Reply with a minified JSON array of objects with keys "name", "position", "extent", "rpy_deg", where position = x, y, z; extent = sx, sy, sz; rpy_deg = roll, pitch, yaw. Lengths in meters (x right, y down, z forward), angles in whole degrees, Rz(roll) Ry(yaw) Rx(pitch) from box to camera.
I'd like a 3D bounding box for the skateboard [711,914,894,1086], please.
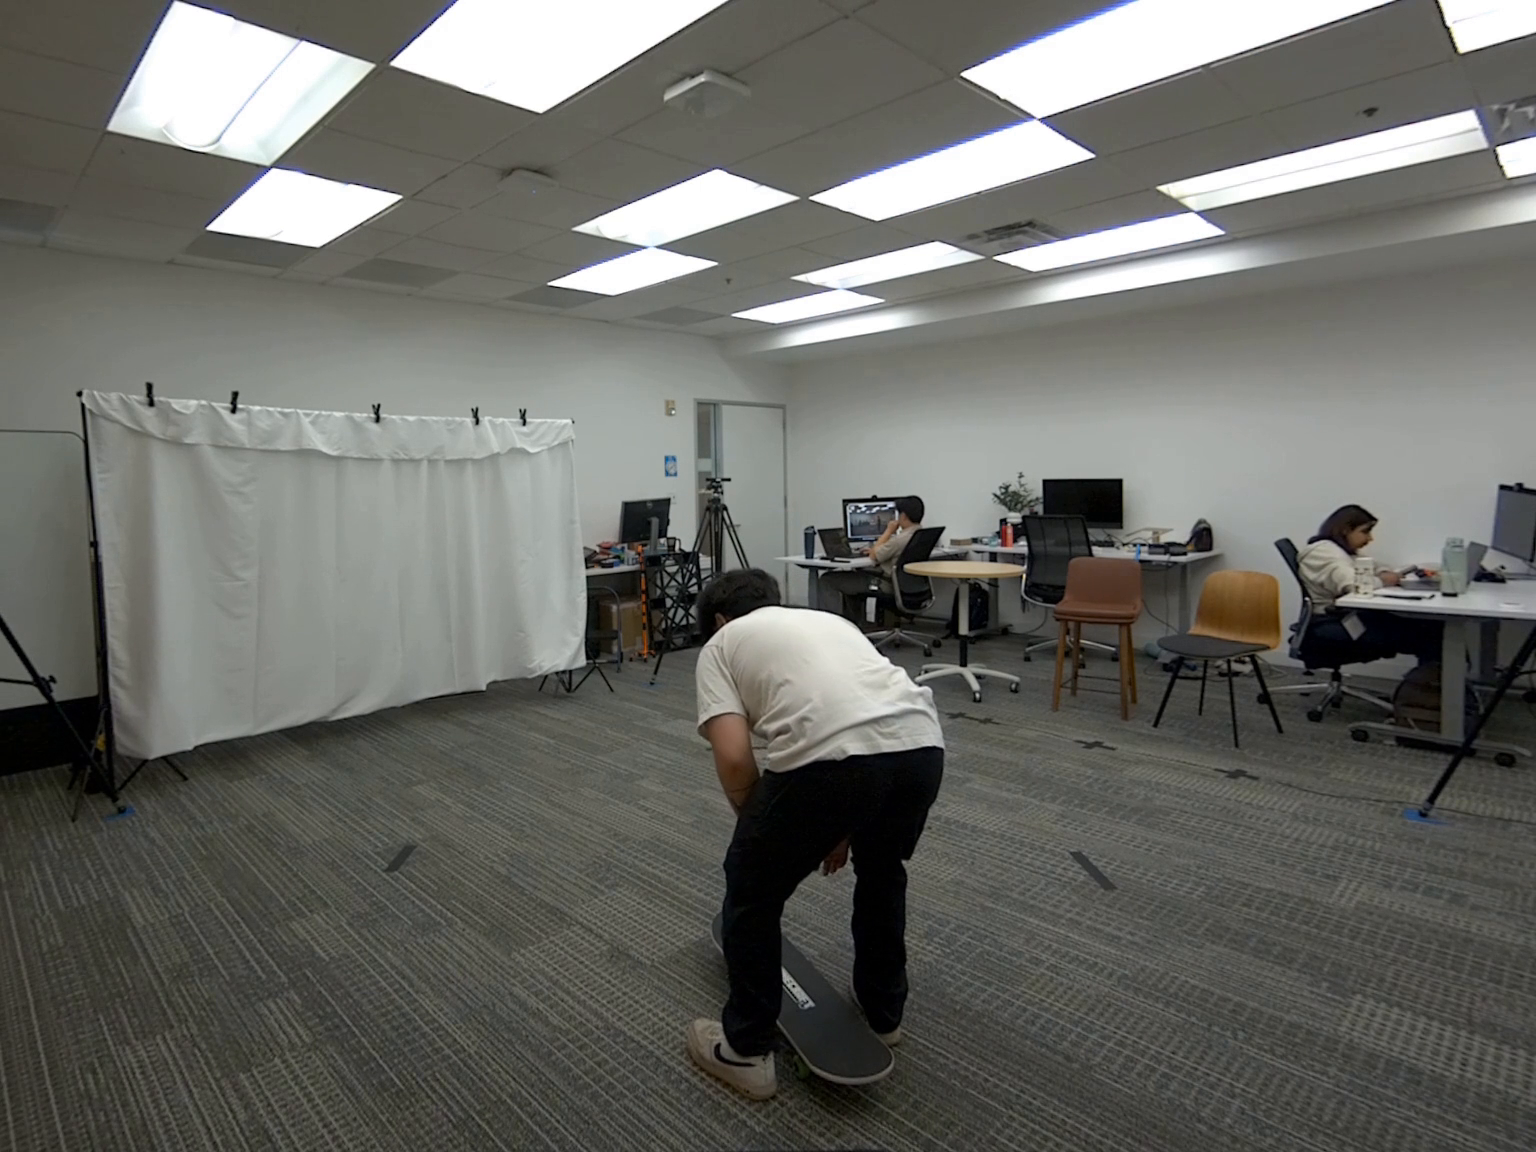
[{"name":"skateboard","position":[0.070,1.094,2.203],"extent":[0.189,0.110,0.806],"rpy_deg":[-3,7,-25]}]
